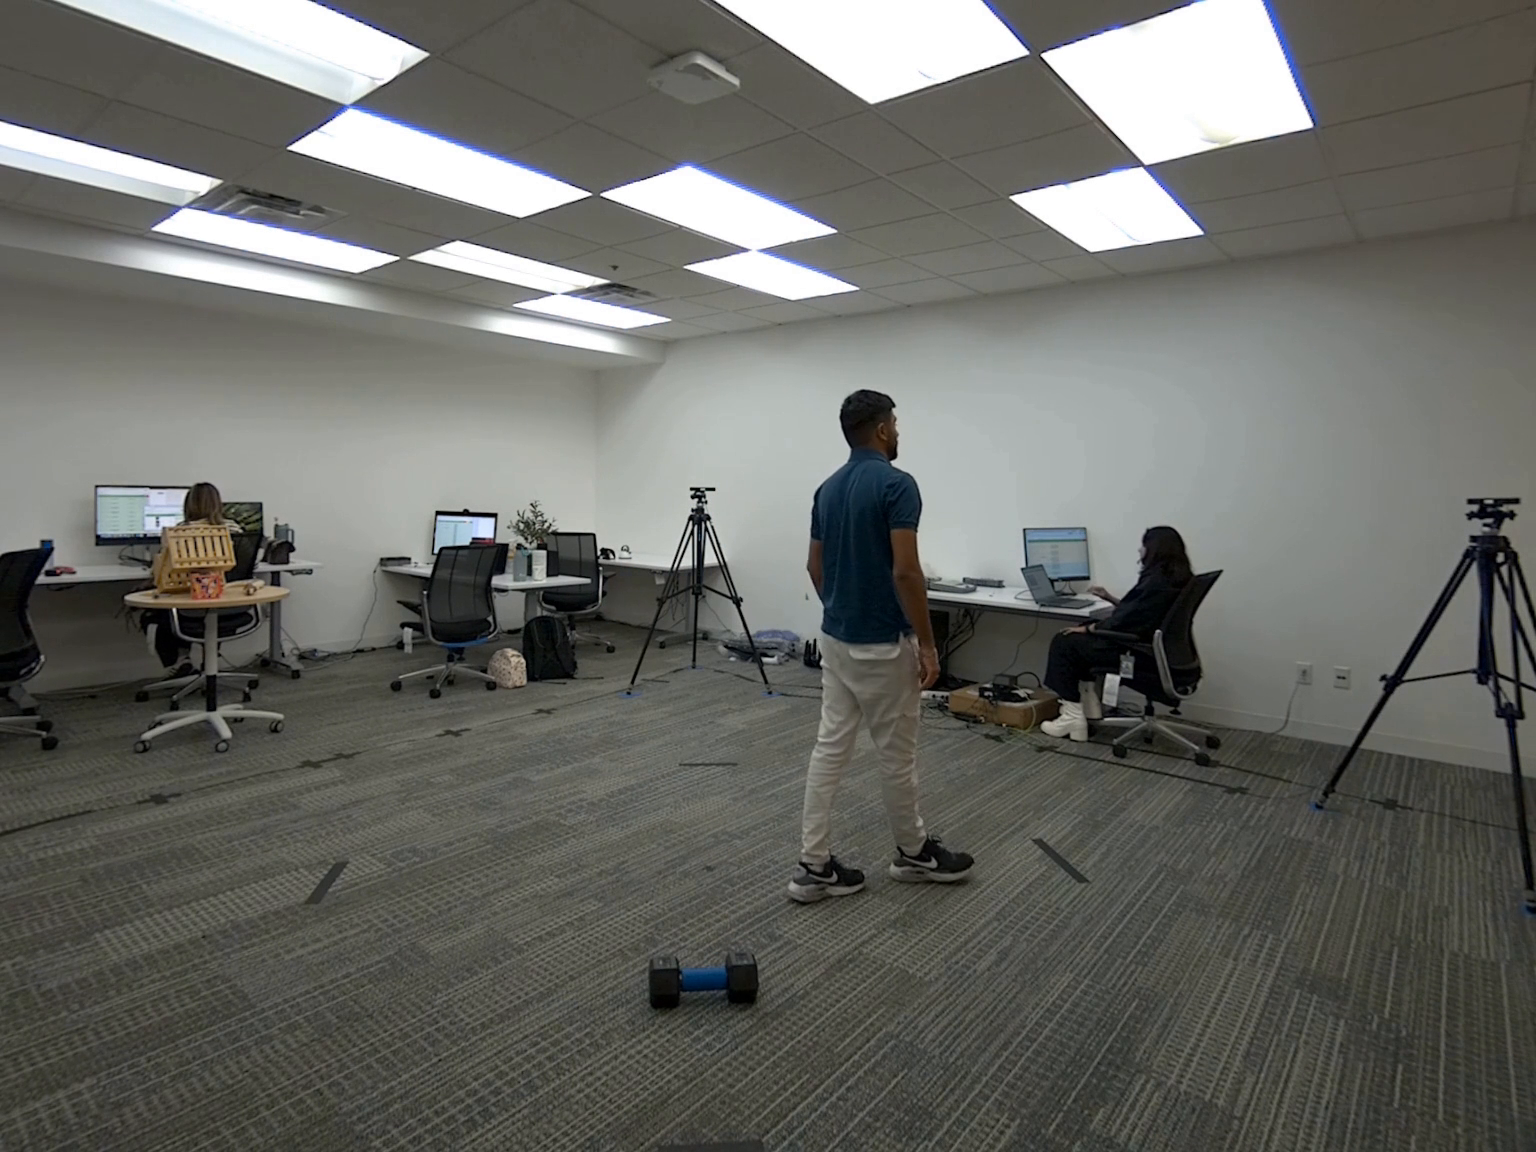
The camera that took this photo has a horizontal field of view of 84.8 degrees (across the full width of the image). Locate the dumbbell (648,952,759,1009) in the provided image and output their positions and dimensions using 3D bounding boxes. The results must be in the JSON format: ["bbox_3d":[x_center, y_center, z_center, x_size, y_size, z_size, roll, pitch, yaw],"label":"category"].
[{"bbox_3d":[-0.179,1.093,2.314,0.291,0.126,0.107,0,-26,-8],"label":"dumbbell"}]
